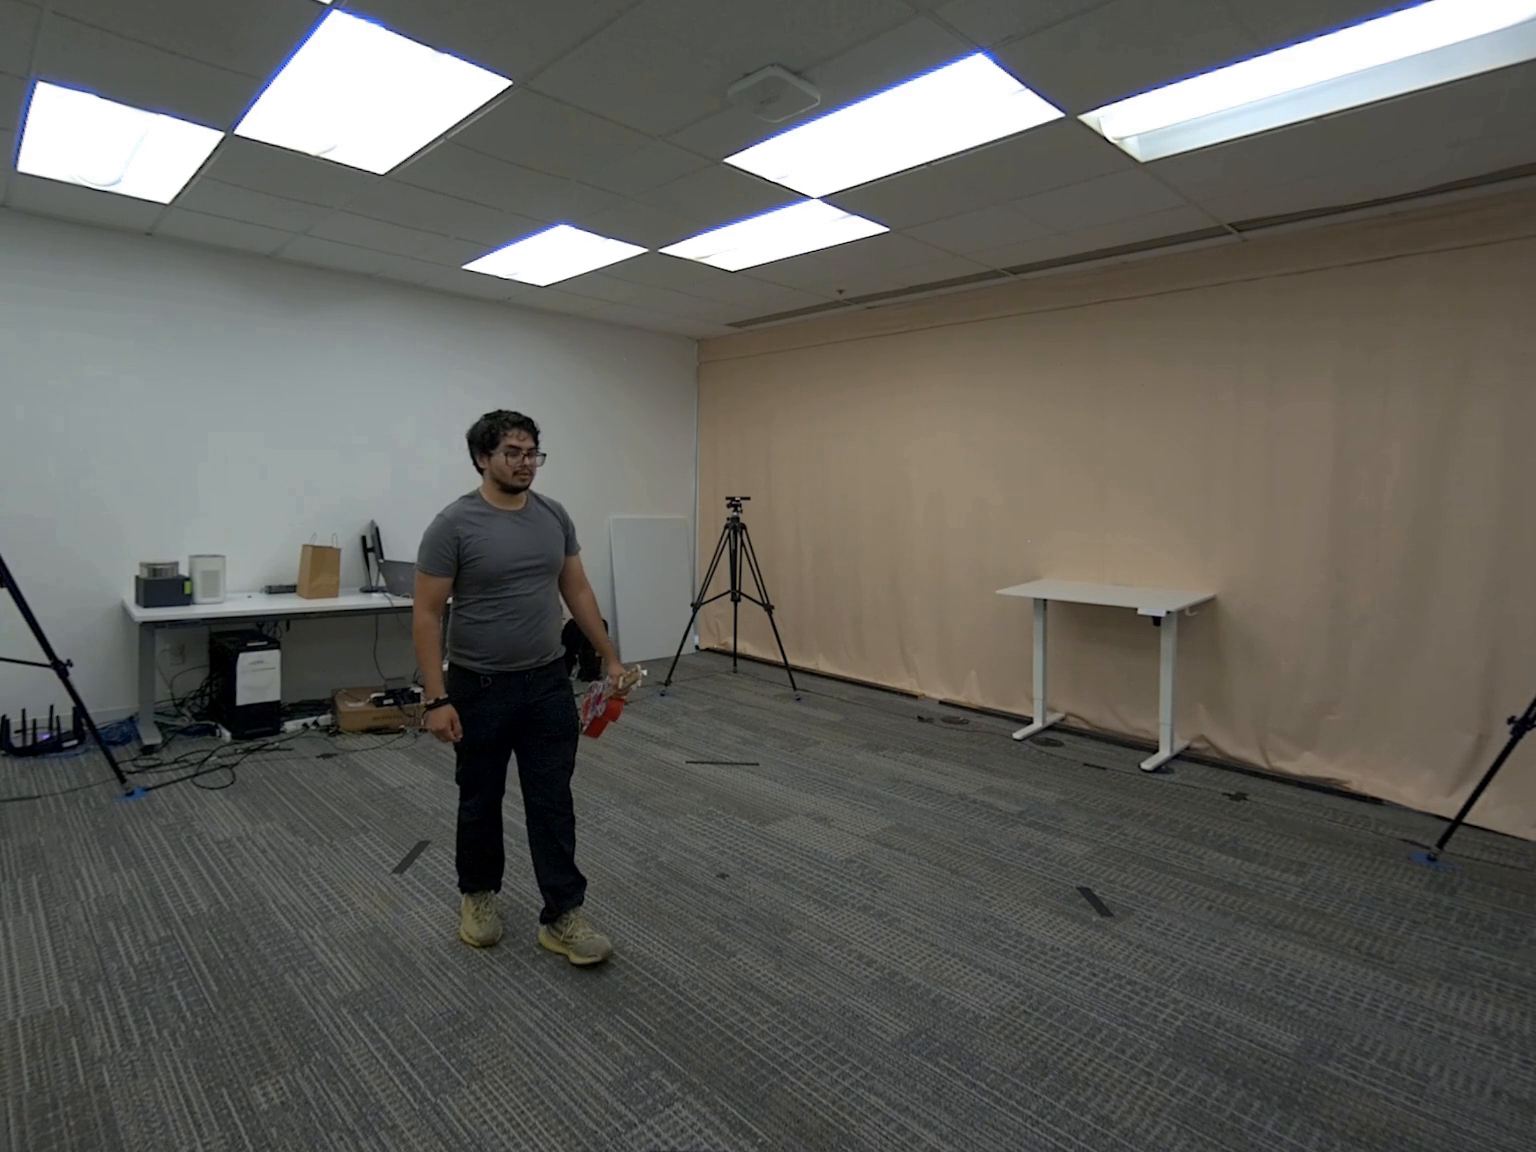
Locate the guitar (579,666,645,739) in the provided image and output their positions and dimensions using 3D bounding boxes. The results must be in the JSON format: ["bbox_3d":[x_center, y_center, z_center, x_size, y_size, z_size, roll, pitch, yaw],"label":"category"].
[{"bbox_3d":[-0.519,0.424,2.782,0.069,0.195,0.502,21,-25,-23],"label":"guitar"}]
